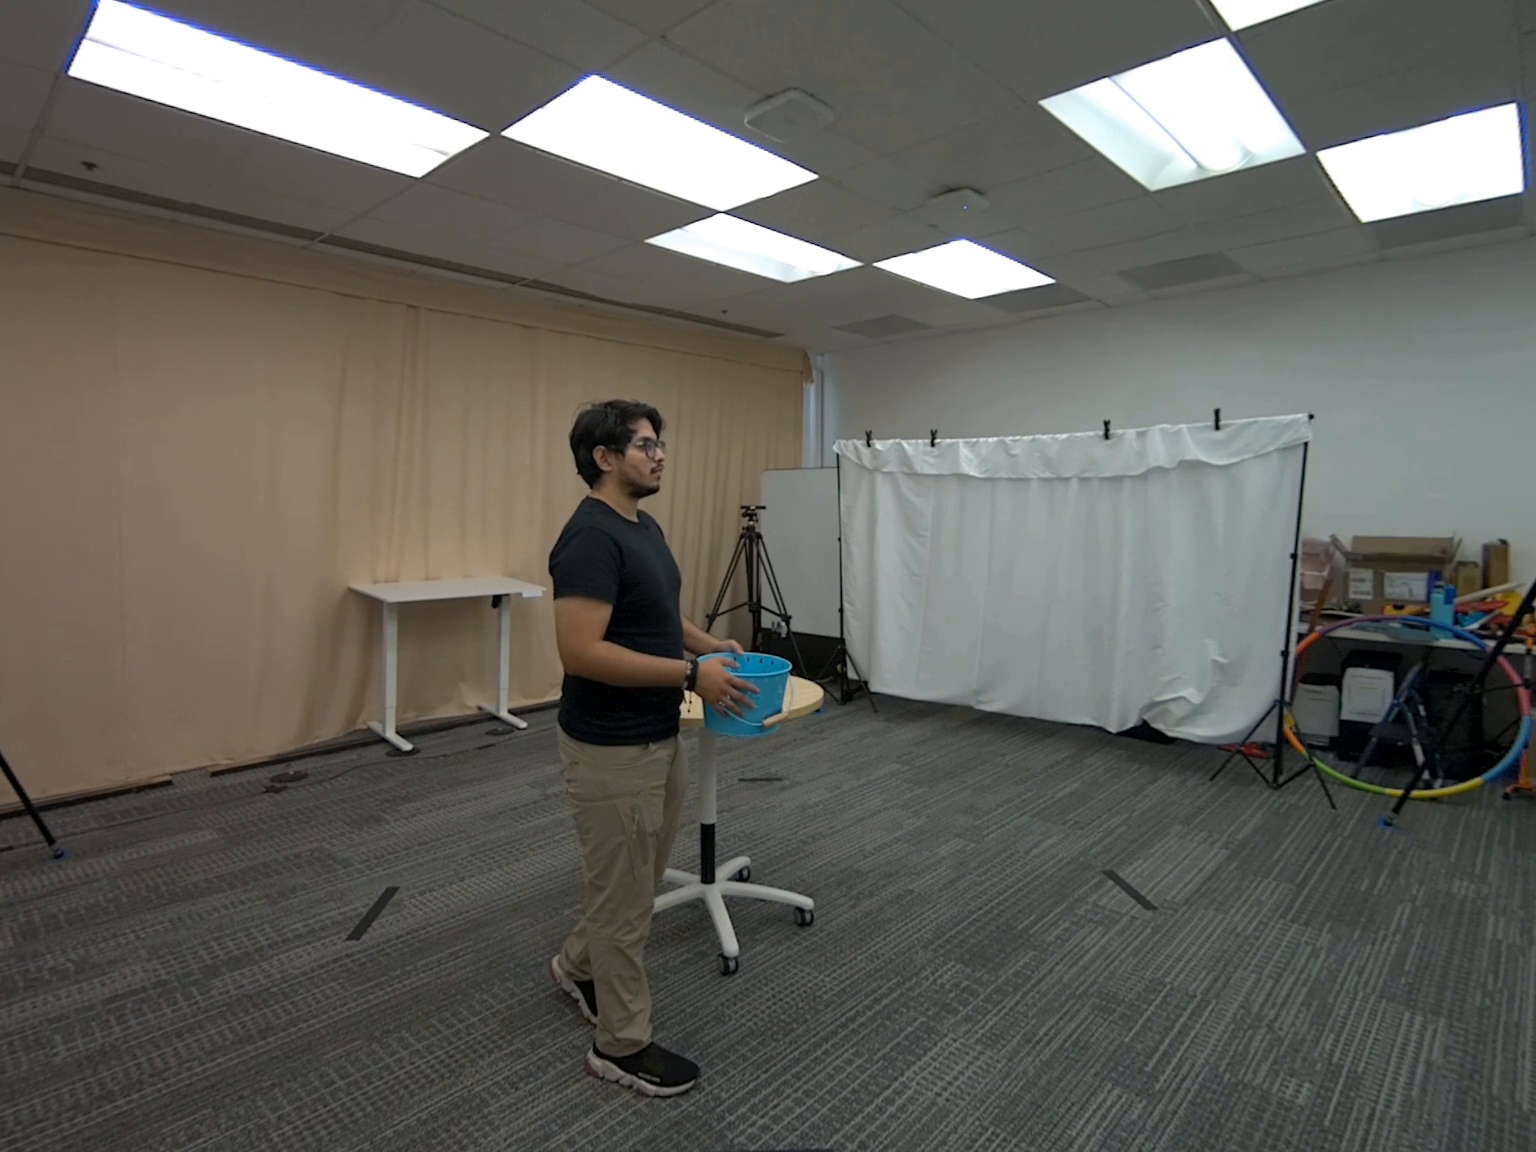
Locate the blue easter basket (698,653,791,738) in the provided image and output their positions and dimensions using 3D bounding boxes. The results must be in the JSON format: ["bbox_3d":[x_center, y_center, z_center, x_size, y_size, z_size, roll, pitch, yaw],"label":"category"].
[{"bbox_3d":[-0.070,0.292,1.997,0.243,0.155,0.245,-1,6,-2],"label":"blue easter basket"}]
